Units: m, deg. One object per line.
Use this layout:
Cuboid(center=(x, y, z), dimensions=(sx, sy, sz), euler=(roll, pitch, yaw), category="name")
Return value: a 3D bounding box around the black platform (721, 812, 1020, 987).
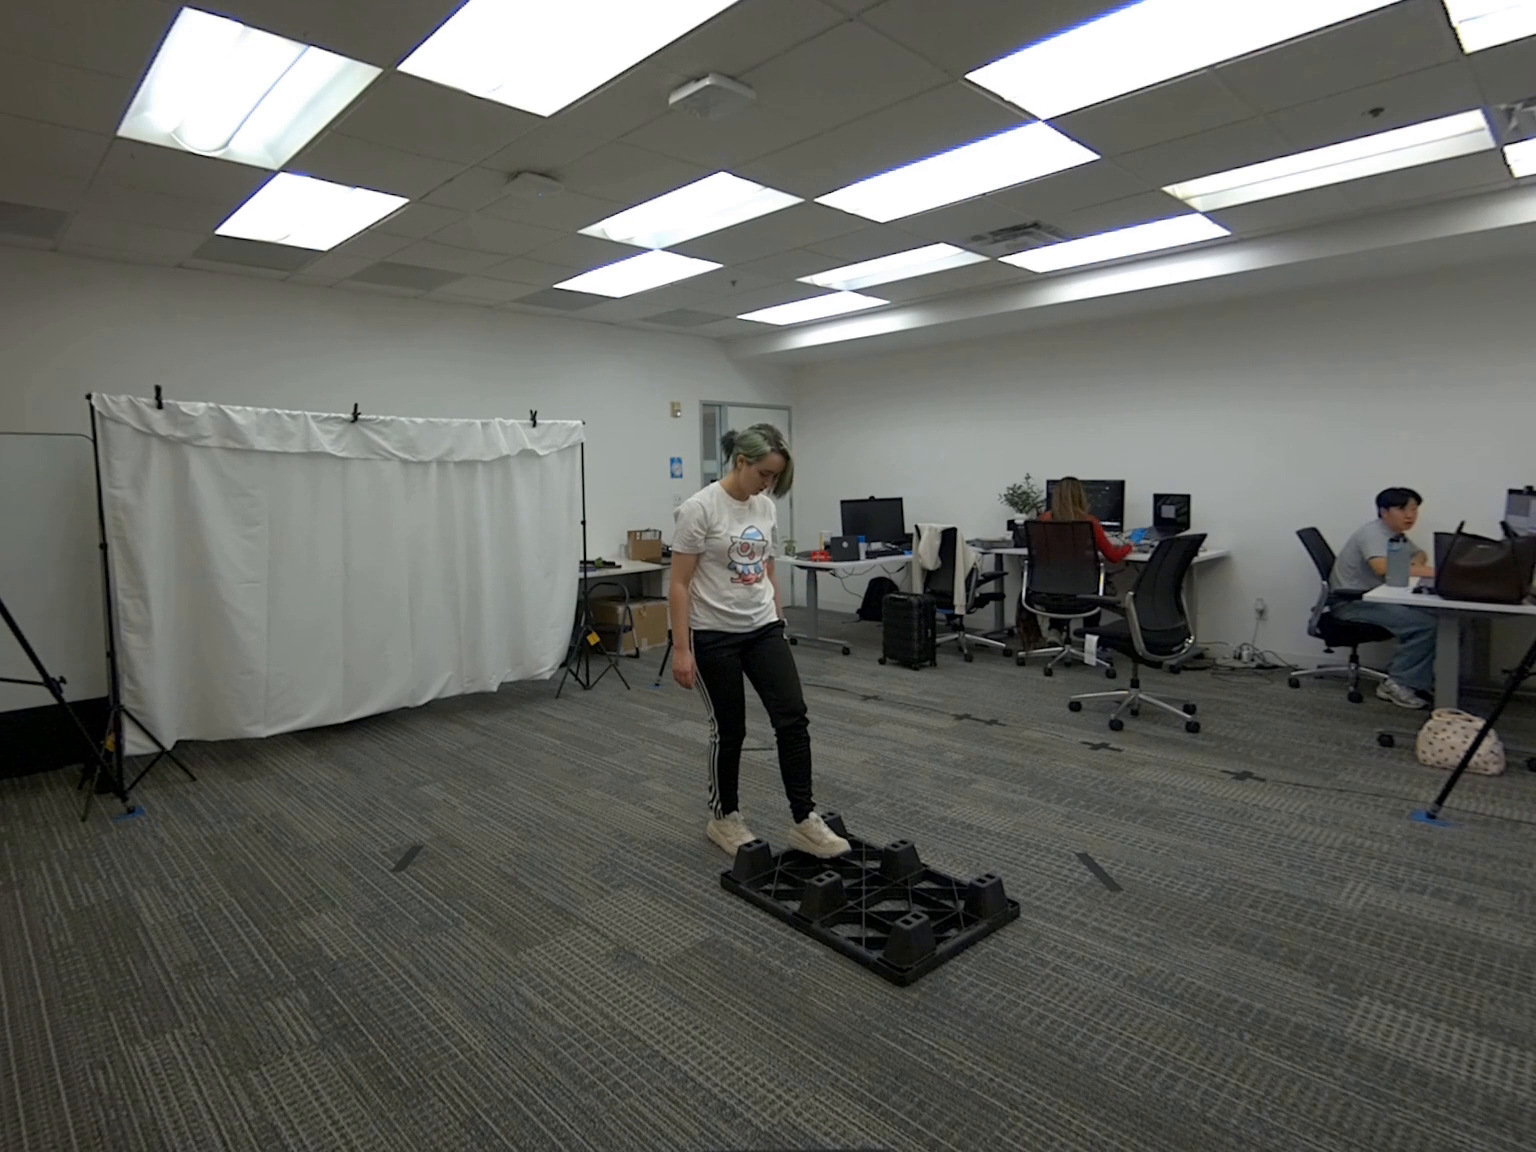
Cuboid(center=(0.312, 1.007, 2.822), dimensions=(0.589, 0.143, 0.830), euler=(-6, 8, -41), category="black platform")
